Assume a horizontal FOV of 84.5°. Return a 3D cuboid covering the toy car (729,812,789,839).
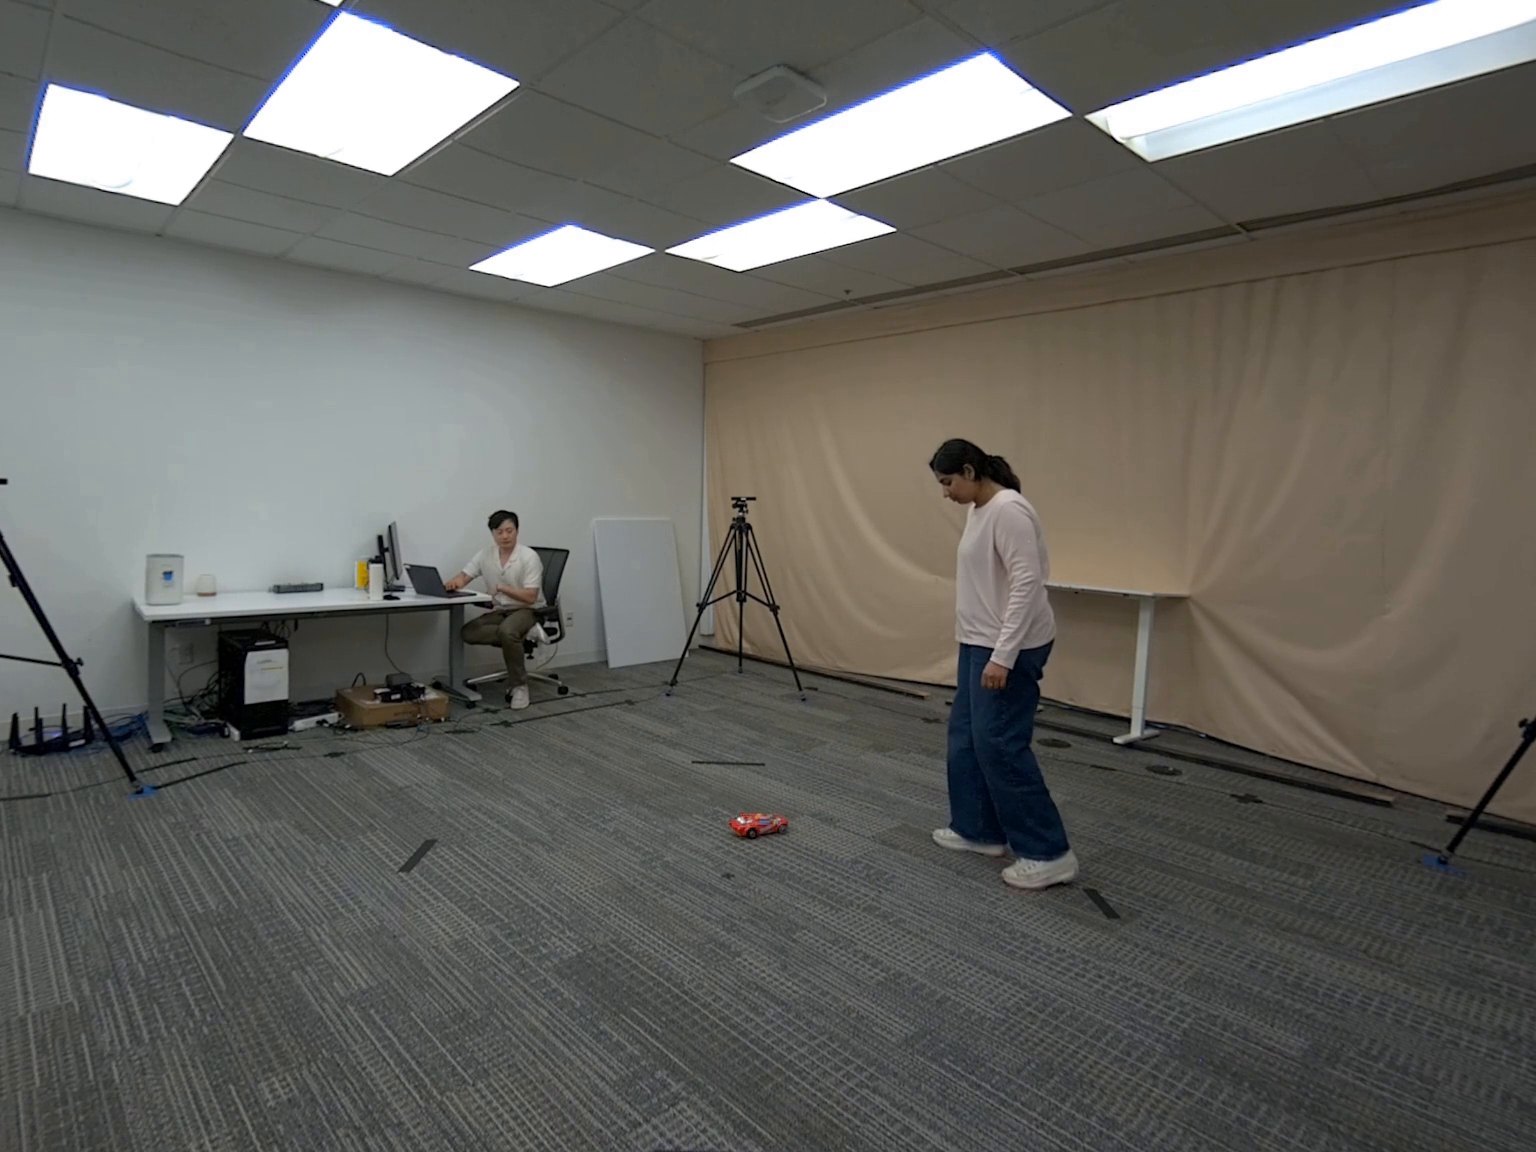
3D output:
[{"bbox_3d":[-0.053,1.033,3.519,0.249,0.083,0.133,12,-1,-26],"label":"toy car"}]
